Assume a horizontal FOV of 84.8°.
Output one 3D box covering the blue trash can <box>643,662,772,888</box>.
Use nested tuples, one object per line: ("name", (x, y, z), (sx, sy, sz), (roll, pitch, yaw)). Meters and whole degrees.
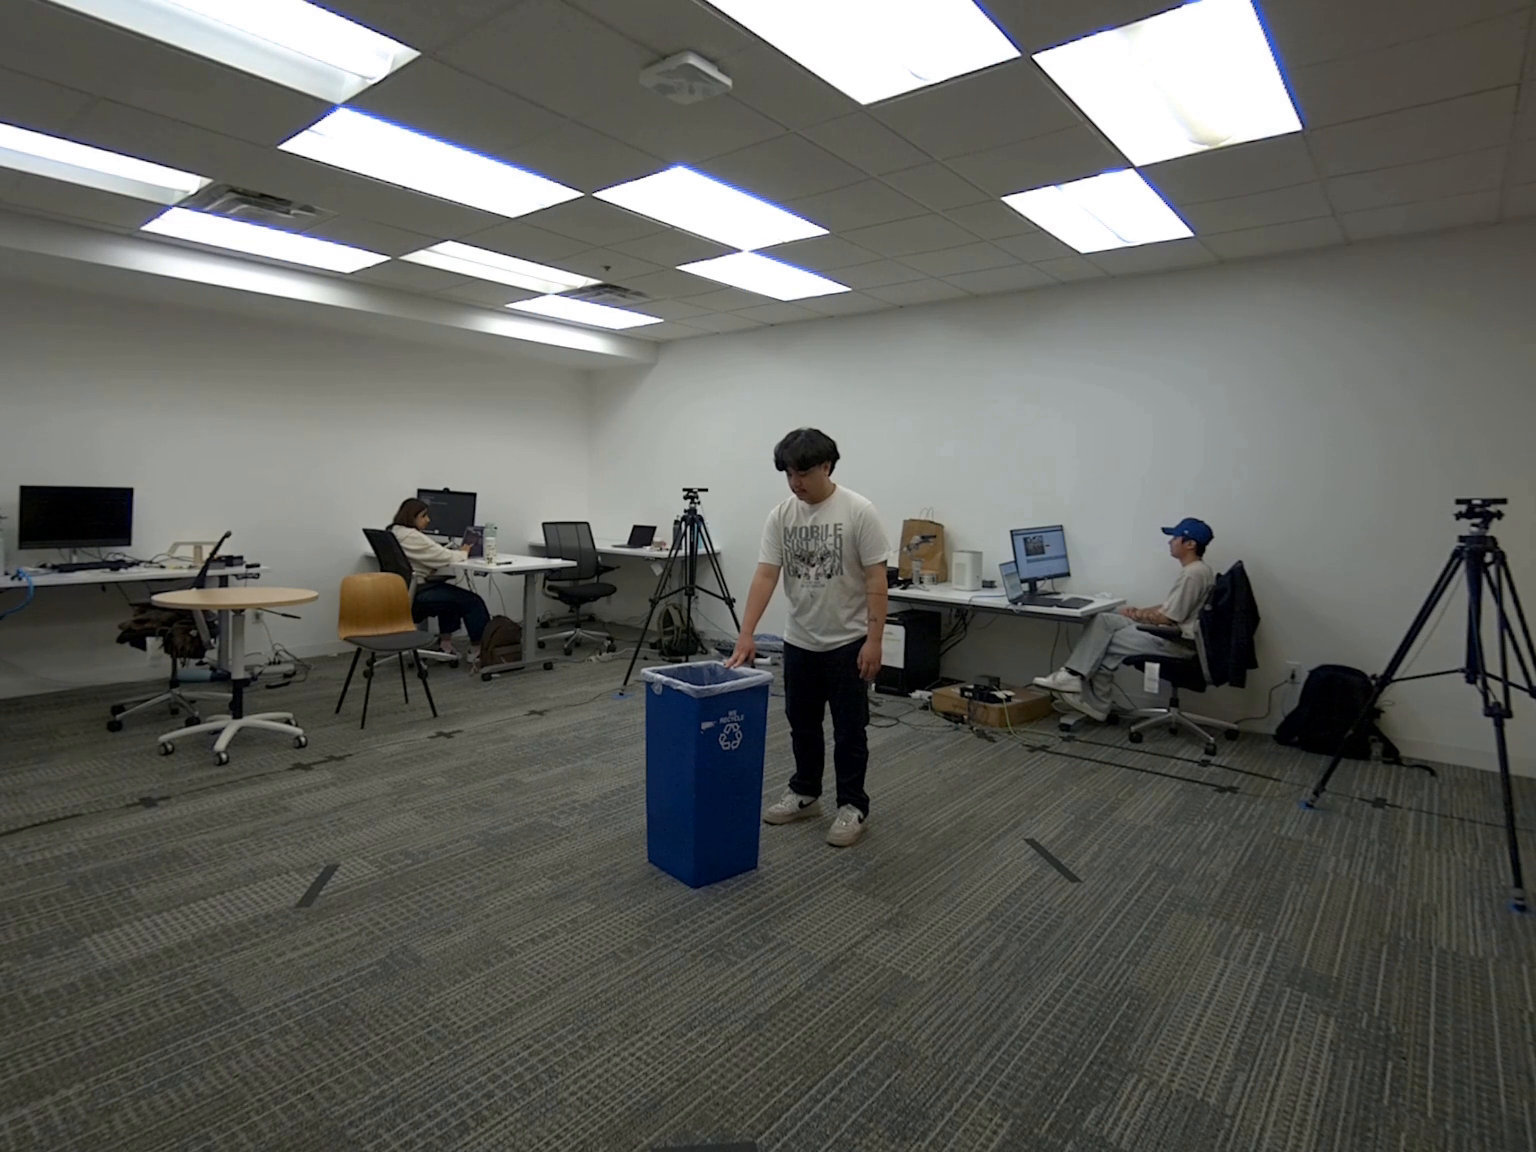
("blue trash can", (-0.241, 0.708, 3.145), (0.363, 0.711, 0.391), (-2, 4, -41))
